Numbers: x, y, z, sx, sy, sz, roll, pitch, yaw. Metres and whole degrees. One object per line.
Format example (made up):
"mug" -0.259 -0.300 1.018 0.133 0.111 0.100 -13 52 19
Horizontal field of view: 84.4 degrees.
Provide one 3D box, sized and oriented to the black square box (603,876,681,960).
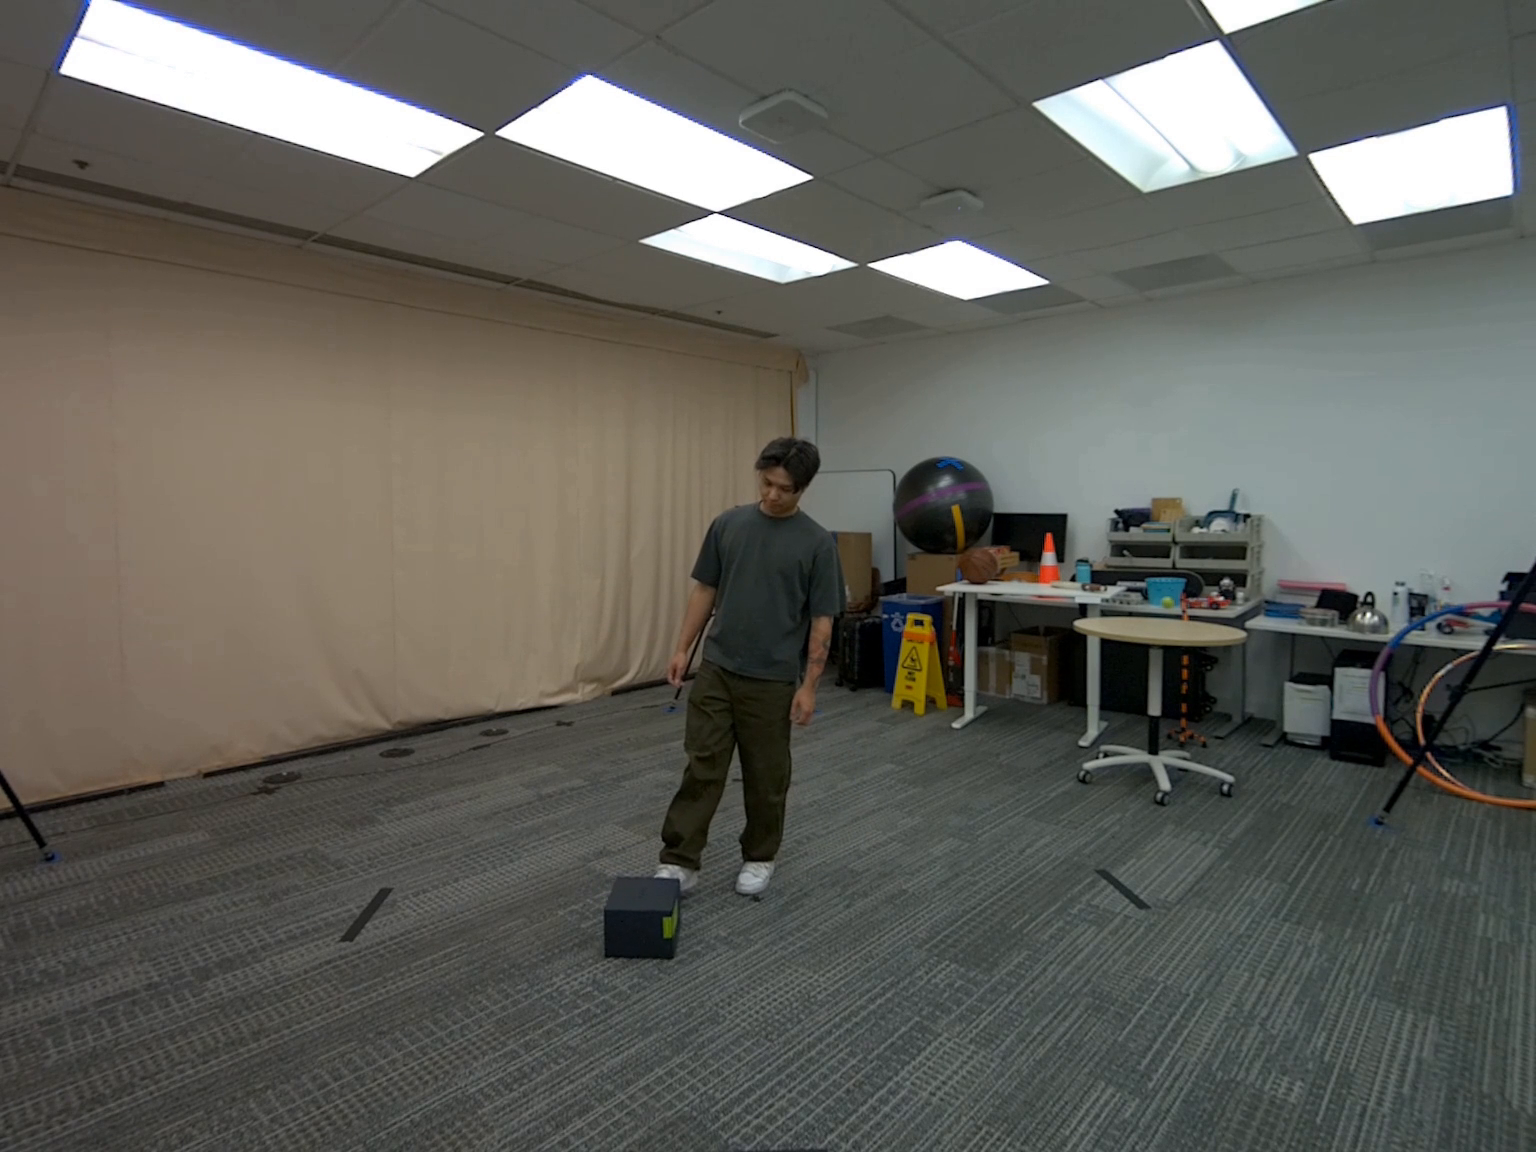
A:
"black square box" -0.399 1.083 2.695 0.217 0.155 0.228 0 4 1
